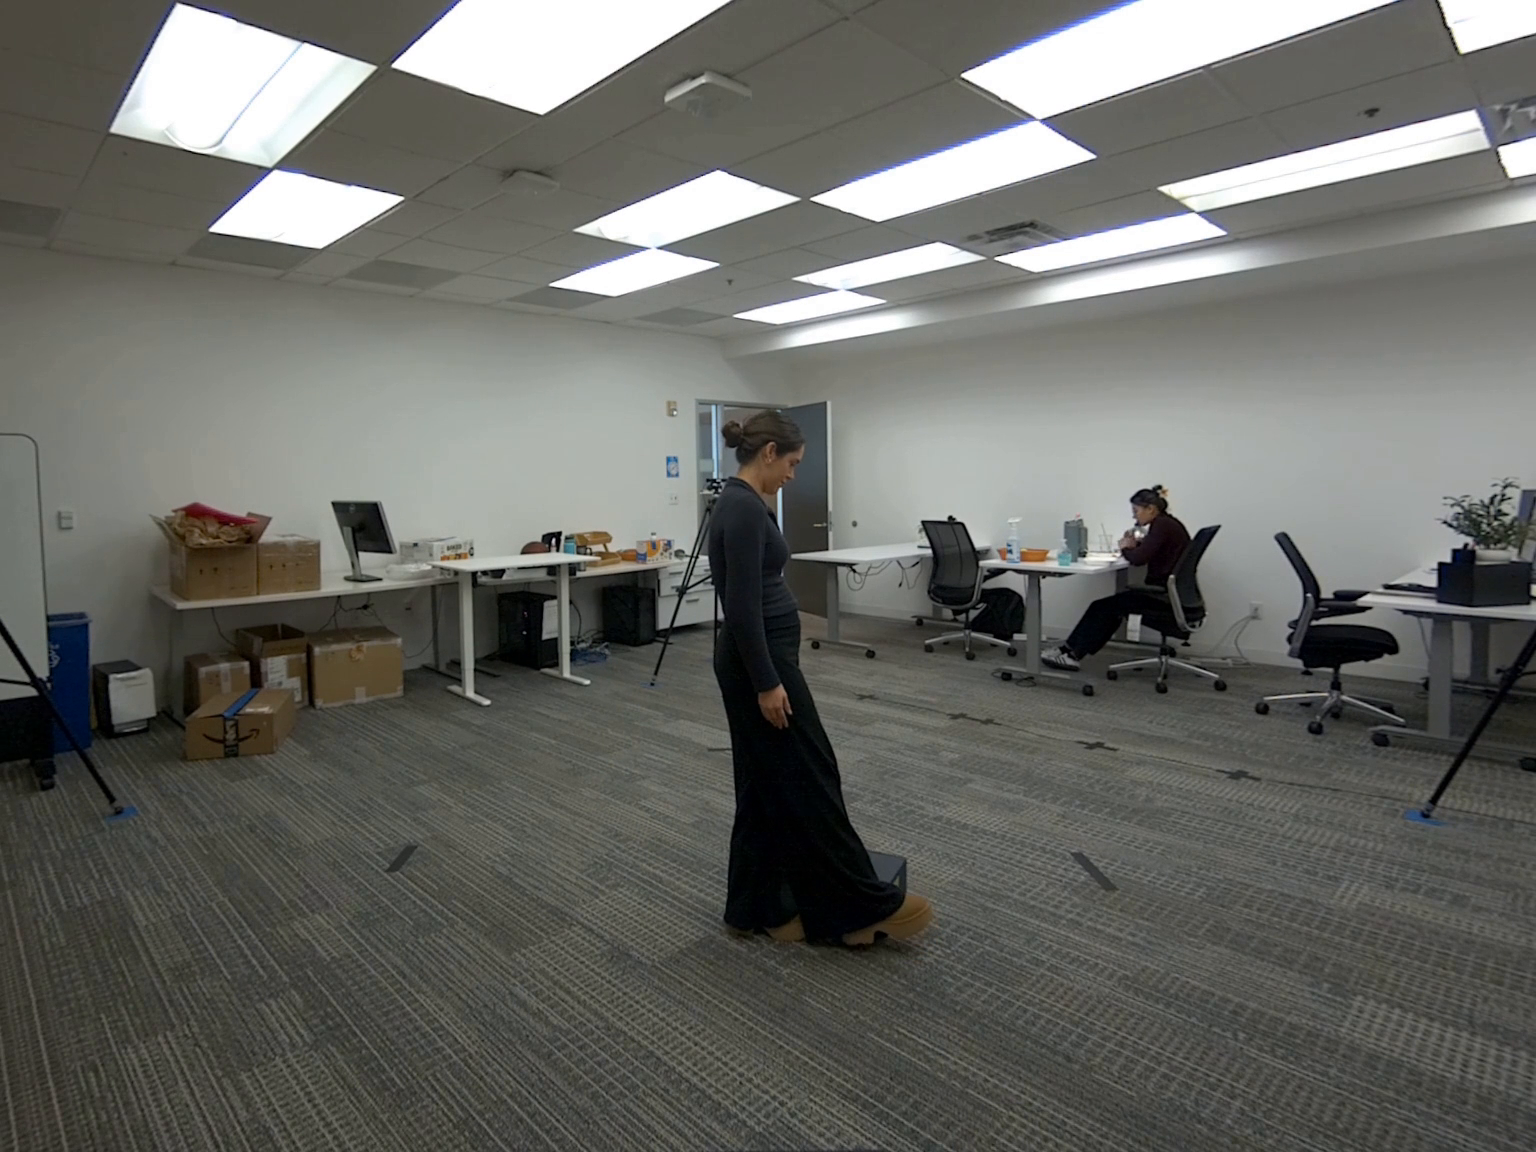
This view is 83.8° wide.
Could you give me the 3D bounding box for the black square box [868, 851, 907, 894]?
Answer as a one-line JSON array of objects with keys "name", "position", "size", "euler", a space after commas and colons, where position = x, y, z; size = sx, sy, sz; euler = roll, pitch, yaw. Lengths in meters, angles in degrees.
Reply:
[{"name": "black square box", "position": [0.322, 1.000, 2.729], "size": [0.222, 0.155, 0.224], "euler": [1, 6, 25]}]
